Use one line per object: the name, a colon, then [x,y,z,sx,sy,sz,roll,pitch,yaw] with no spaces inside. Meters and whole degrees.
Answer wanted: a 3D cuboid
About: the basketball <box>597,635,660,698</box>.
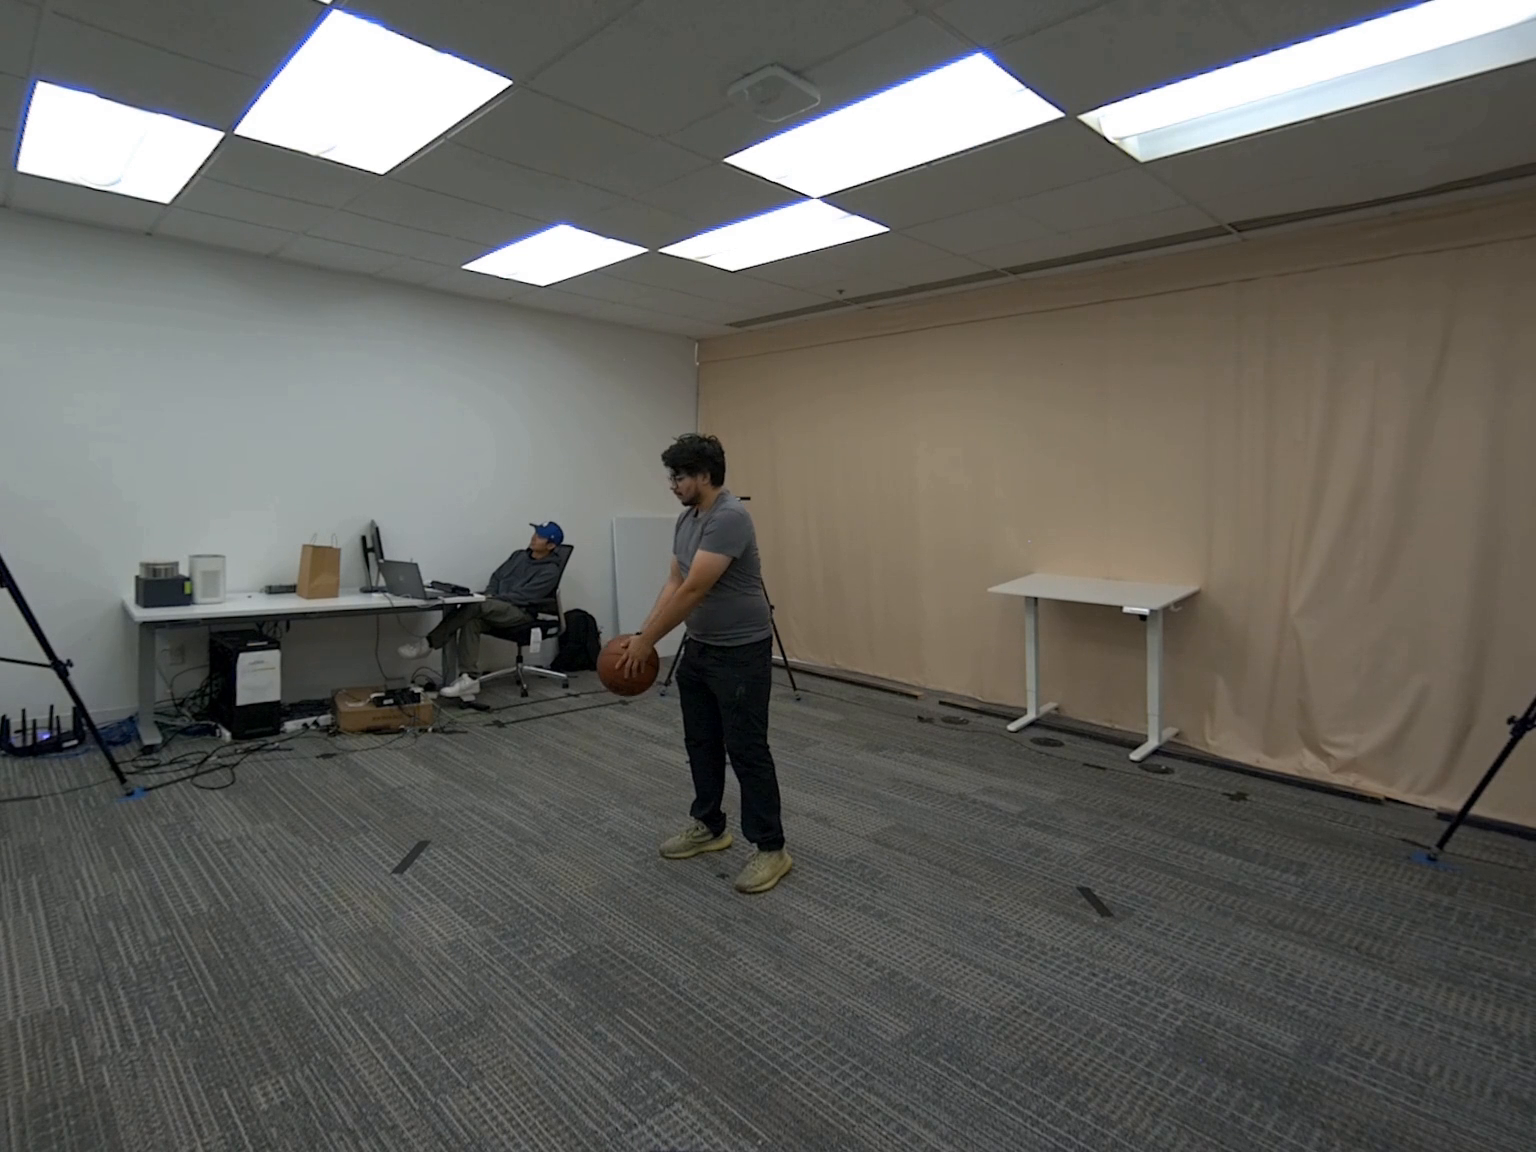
basketball: [-0.538,0.336,3.225,0.236,0.235,0.237,1,4,-1]
